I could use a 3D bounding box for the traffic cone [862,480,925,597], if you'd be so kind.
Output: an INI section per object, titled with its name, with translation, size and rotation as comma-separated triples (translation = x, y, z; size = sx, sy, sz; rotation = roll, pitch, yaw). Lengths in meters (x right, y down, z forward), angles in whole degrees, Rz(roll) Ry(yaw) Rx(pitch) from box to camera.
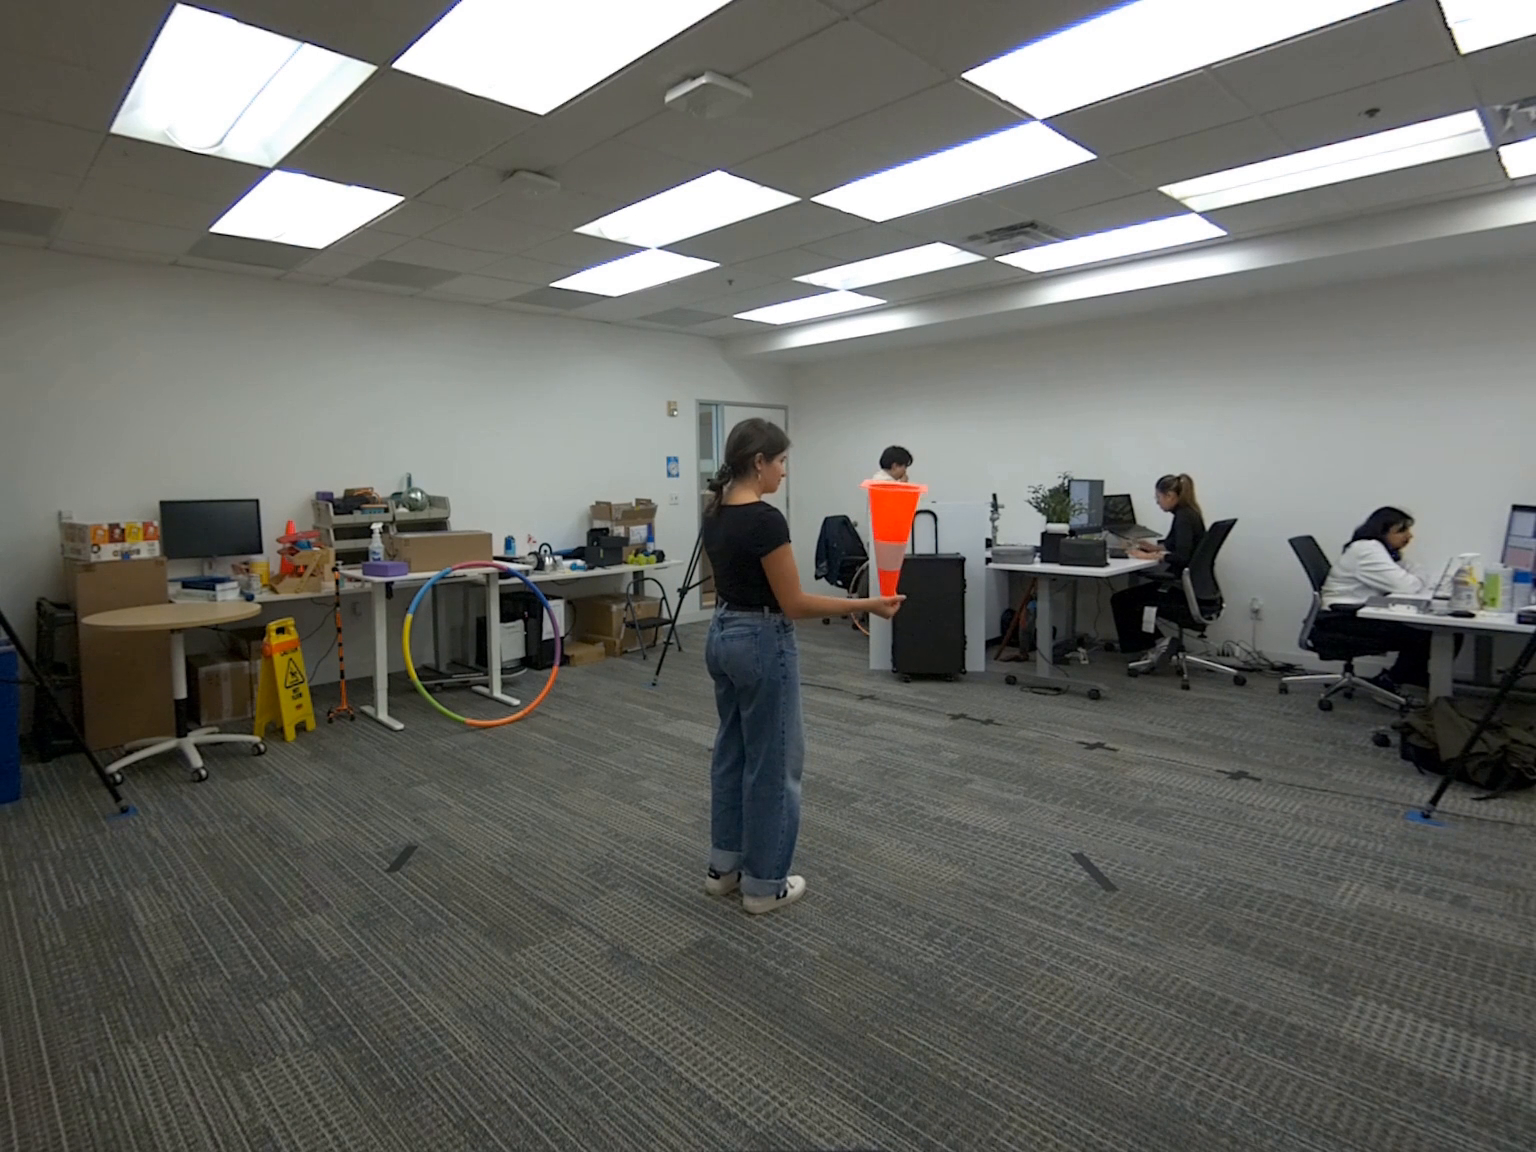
[traffic cone]
translation = 0.370, -0.093, 2.653
size = 0.212, 0.380, 0.198
rotation = 13, 15, 39
